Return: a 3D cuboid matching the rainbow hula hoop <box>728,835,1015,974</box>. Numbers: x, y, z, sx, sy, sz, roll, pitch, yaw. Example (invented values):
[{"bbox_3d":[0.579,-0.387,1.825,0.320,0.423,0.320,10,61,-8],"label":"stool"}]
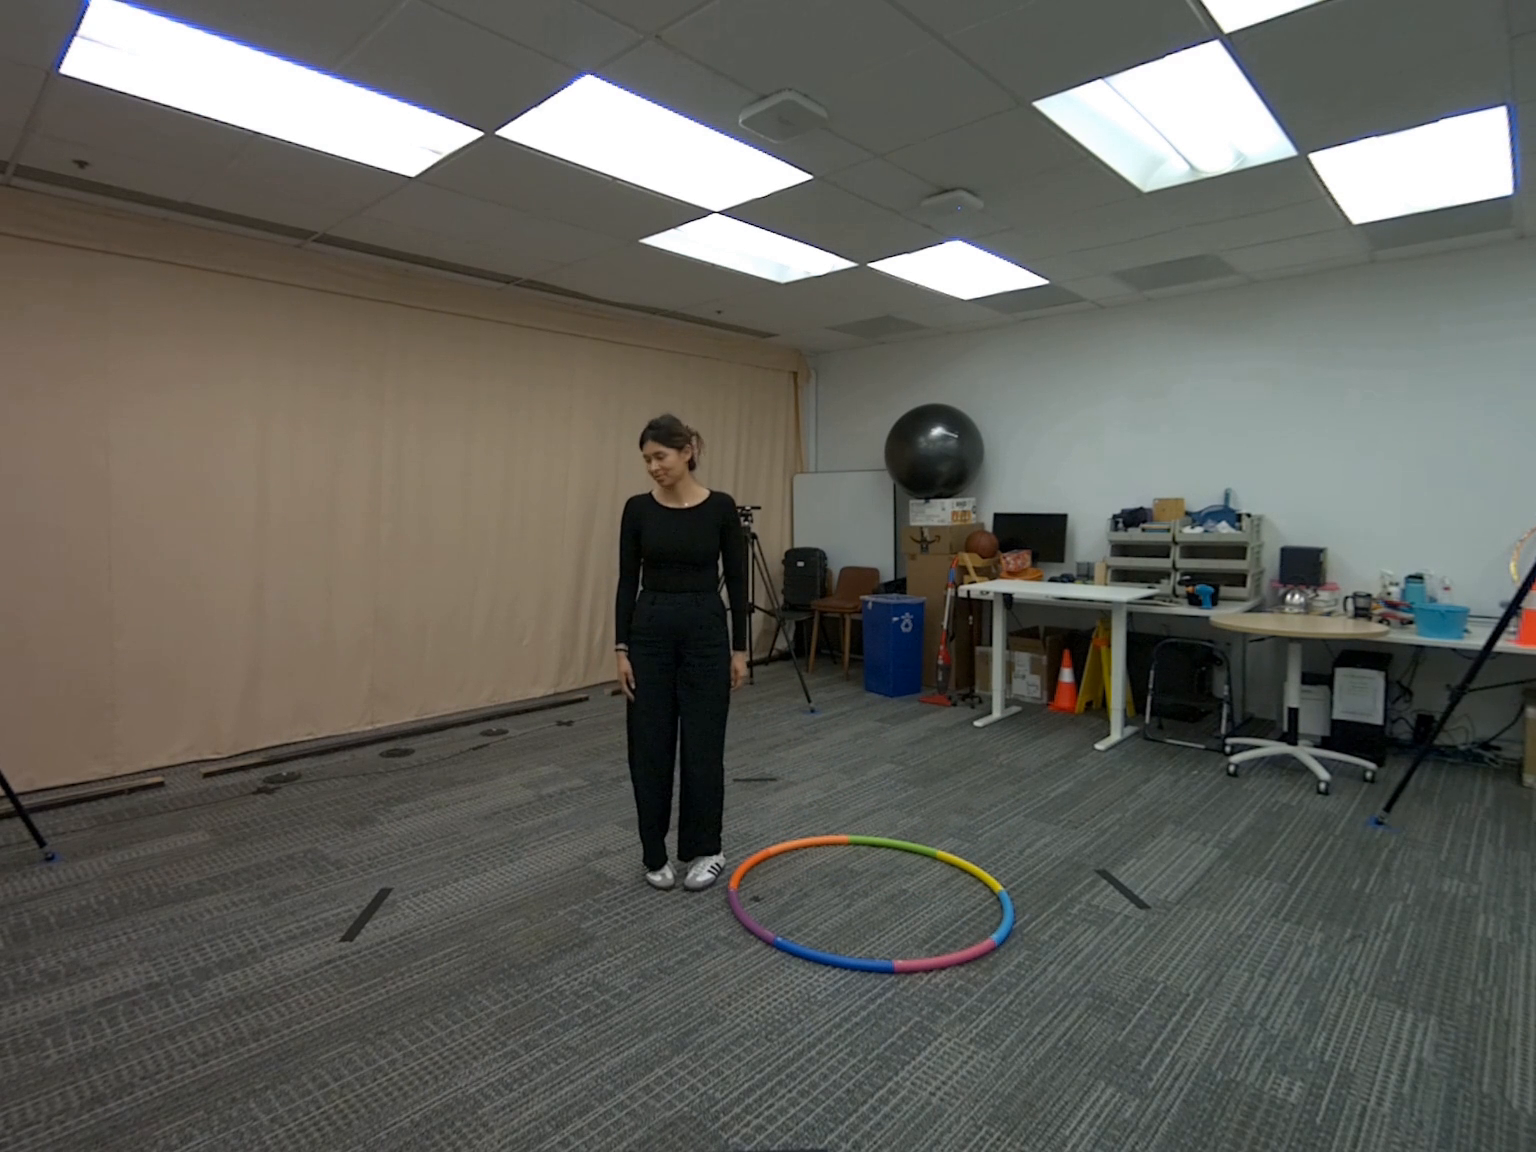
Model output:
[{"bbox_3d":[0.349,1.112,2.990,0.978,0.035,0.982,0,5,-2],"label":"rainbow hula hoop"}]
